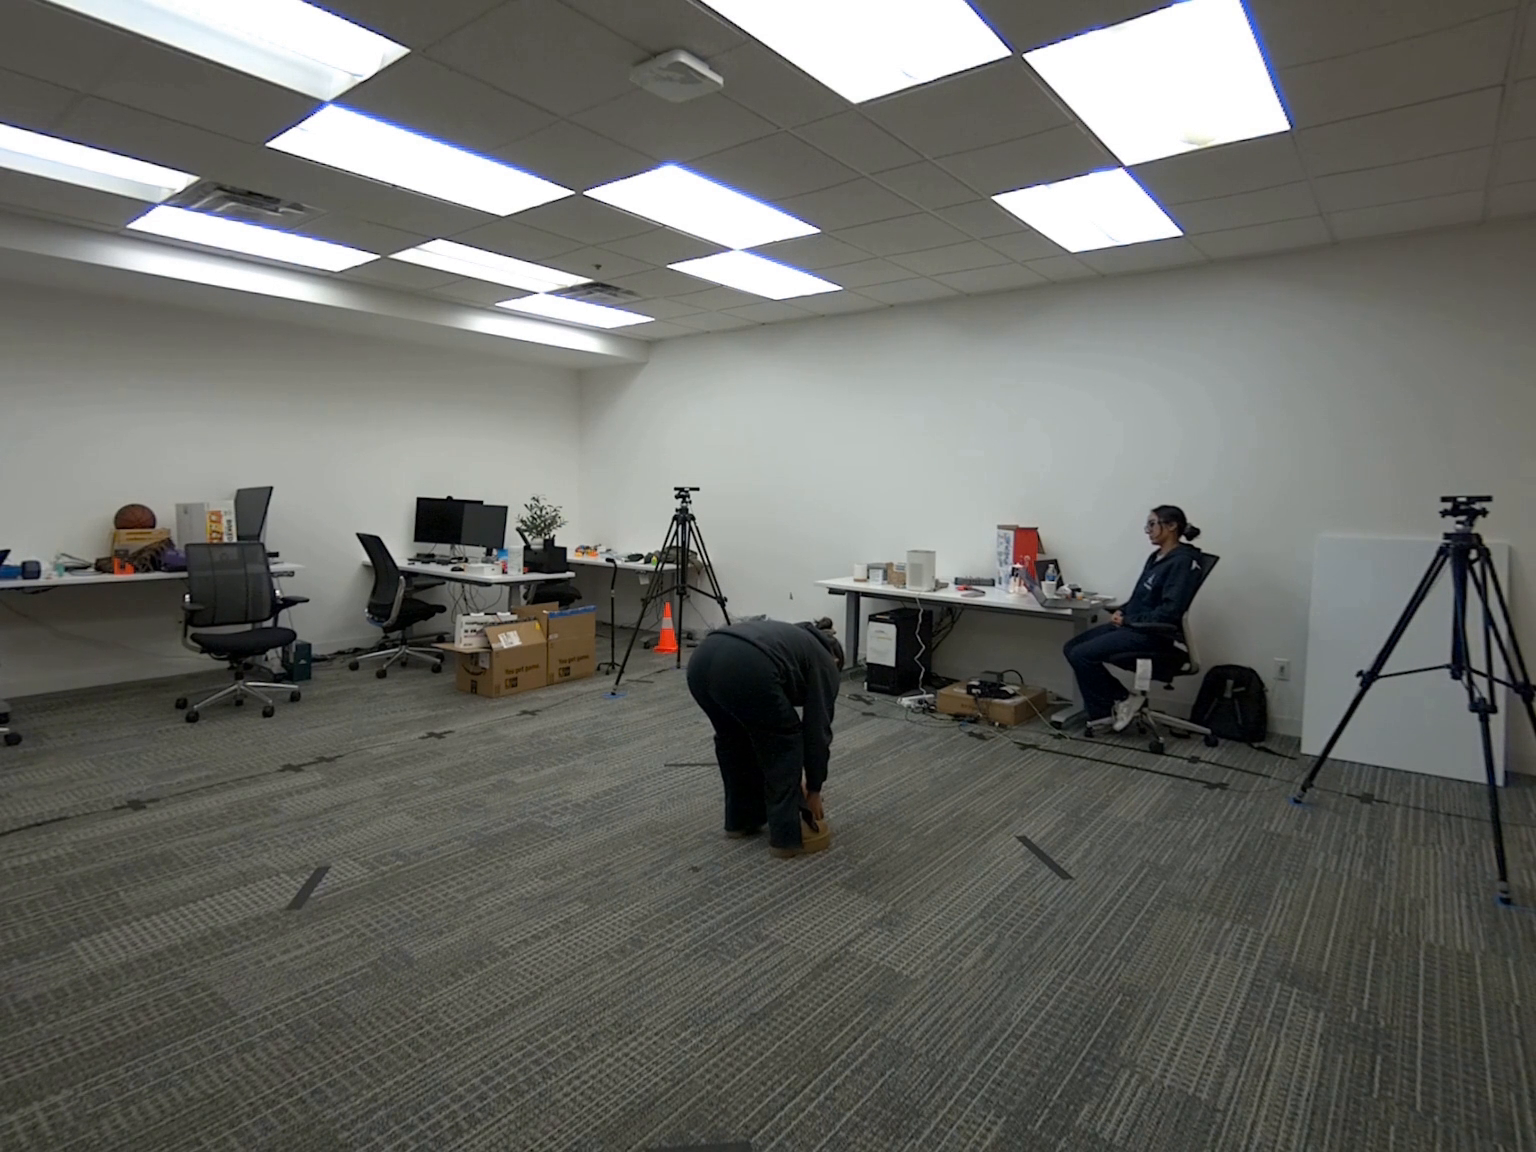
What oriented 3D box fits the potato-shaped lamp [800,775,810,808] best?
[{"bbox_3d":[0.152,0.926,3.528,0.170,0.198,0.166,3,3,39],"label":"potato-shaped lamp"}]
